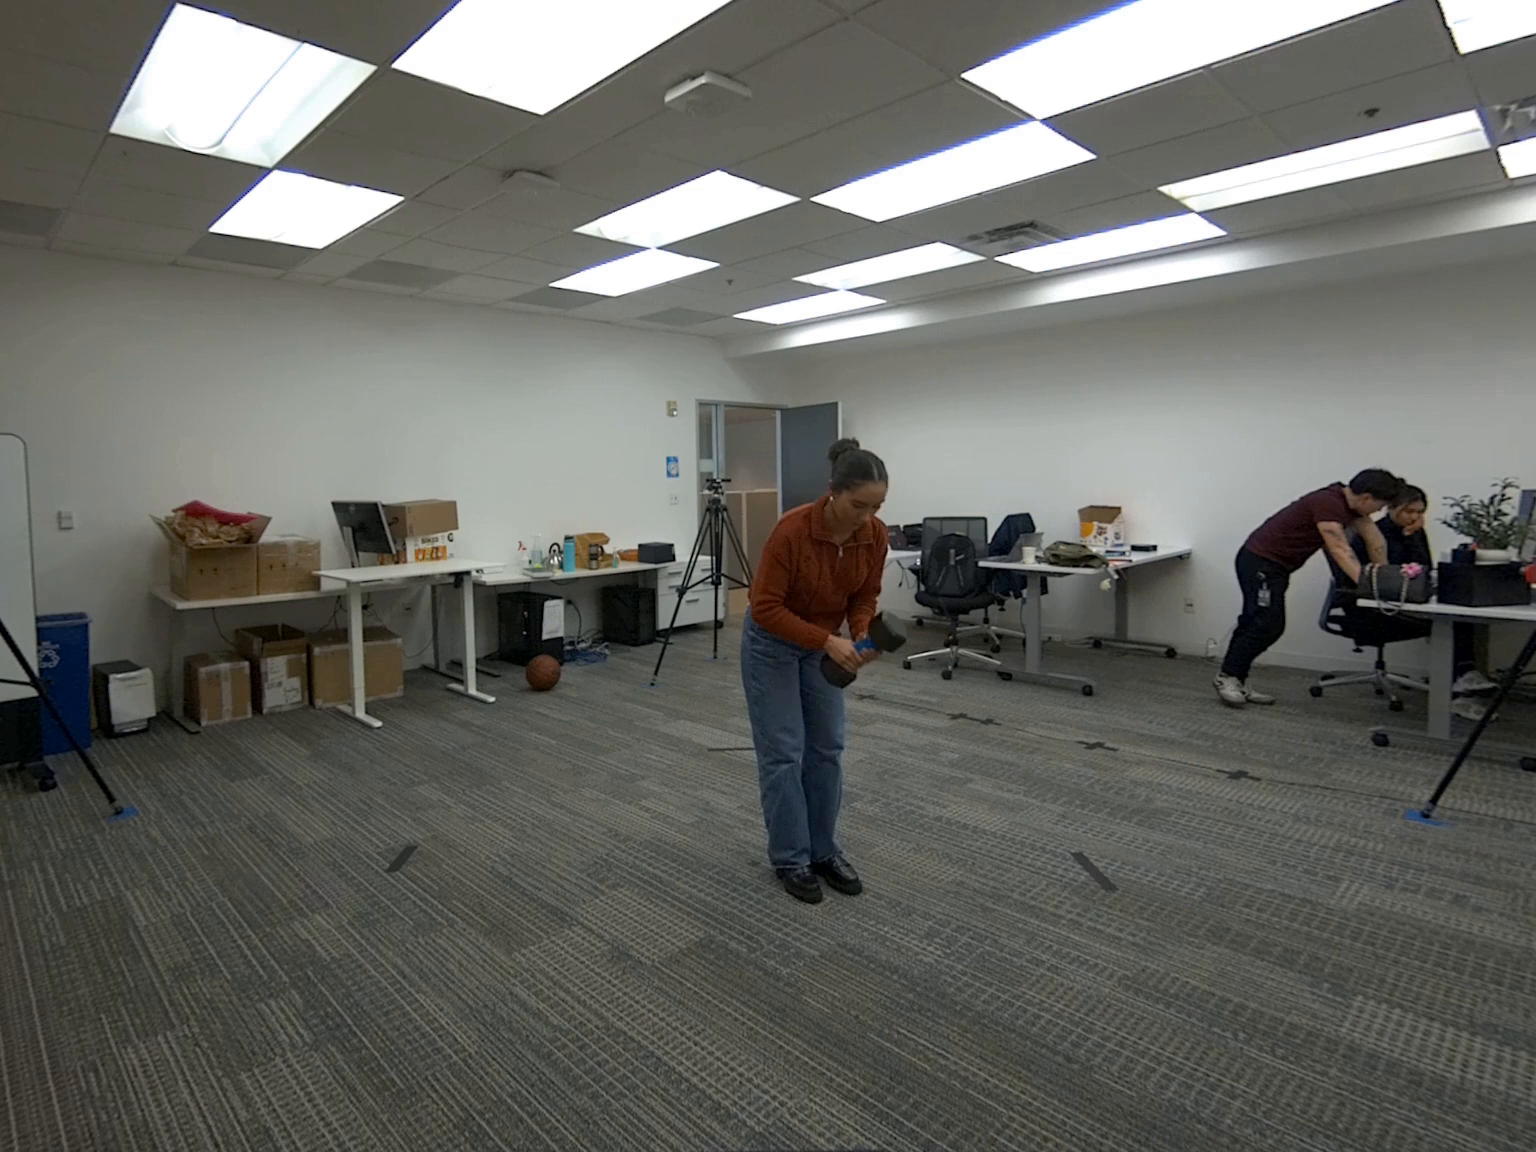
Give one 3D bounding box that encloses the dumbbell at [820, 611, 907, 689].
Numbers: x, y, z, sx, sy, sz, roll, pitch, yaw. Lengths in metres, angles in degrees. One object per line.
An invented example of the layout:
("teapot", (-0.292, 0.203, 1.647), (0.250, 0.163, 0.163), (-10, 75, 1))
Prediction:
("dumbbell", (0.291, 0.242, 2.701), (0.294, 0.108, 0.123), (-42, 7, 26))
